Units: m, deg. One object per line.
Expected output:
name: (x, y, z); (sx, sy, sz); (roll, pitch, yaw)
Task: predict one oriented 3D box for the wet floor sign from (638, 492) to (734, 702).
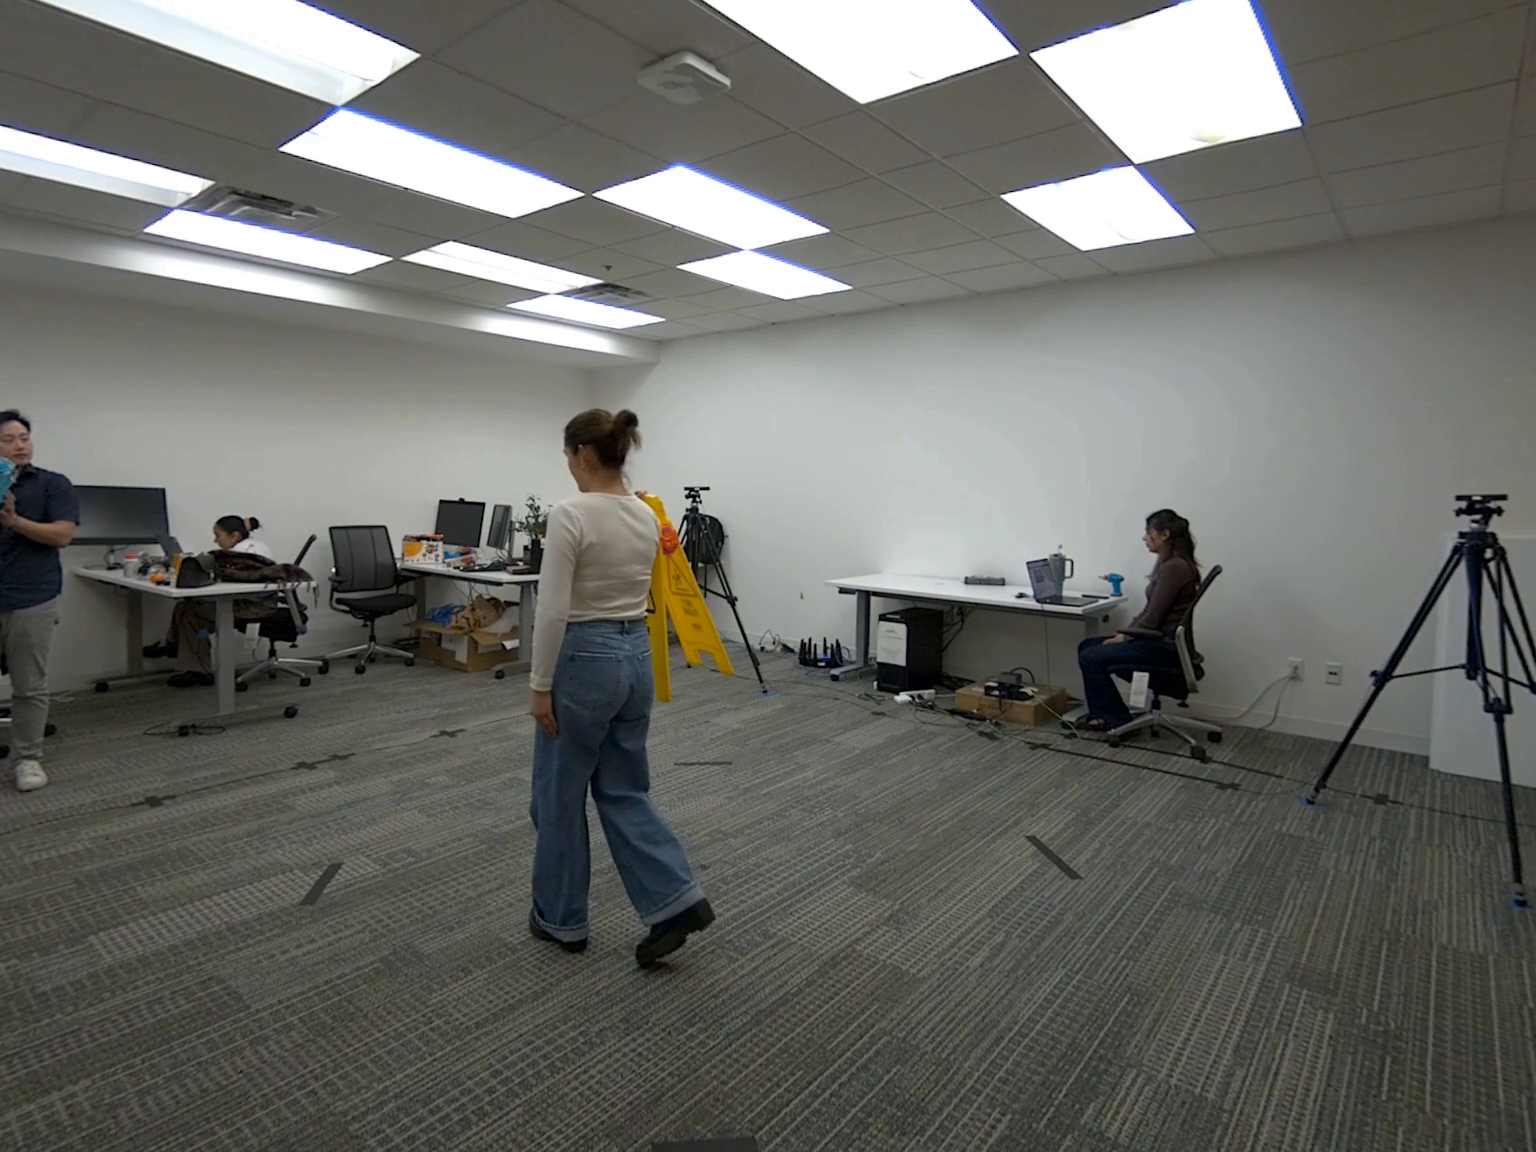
wet floor sign: (-0.362, 0.049, 2.831); (0.284, 0.639, 0.291); (-18, 11, -36)
